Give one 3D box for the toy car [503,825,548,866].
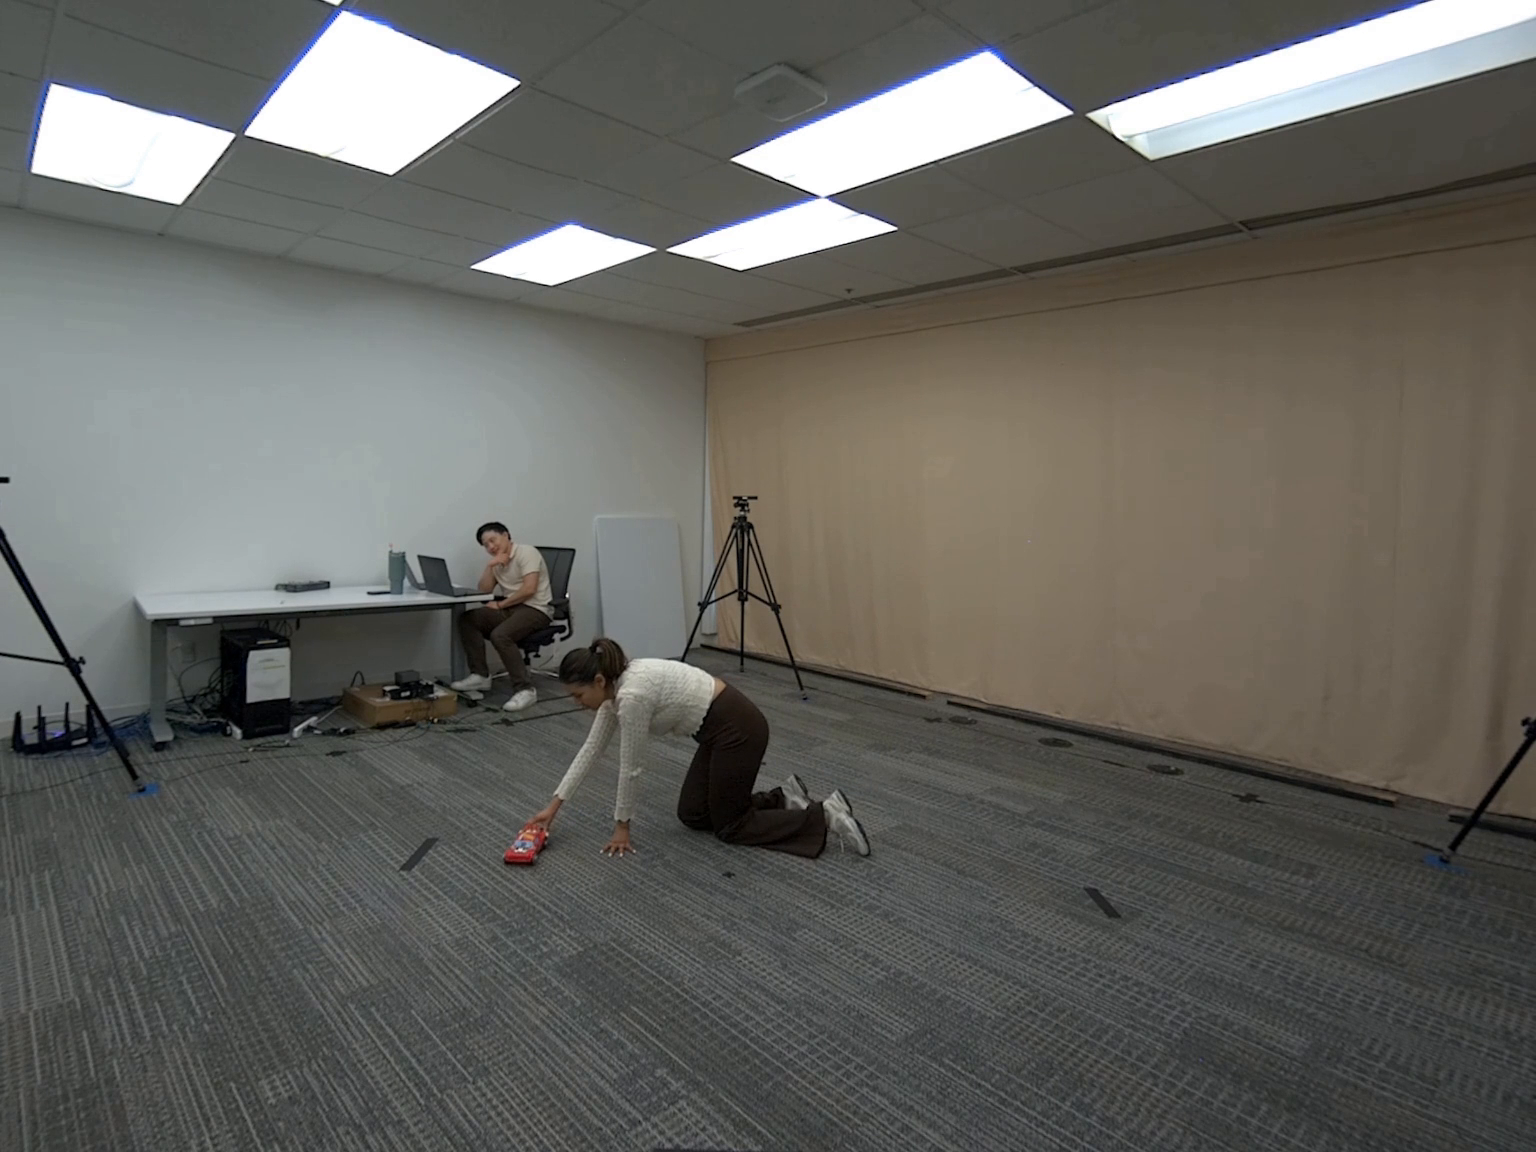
[{"bbox_3d":[-0.935,1.039,3.245,0.130,0.082,0.257,2,15,0],"label":"toy car"}]
